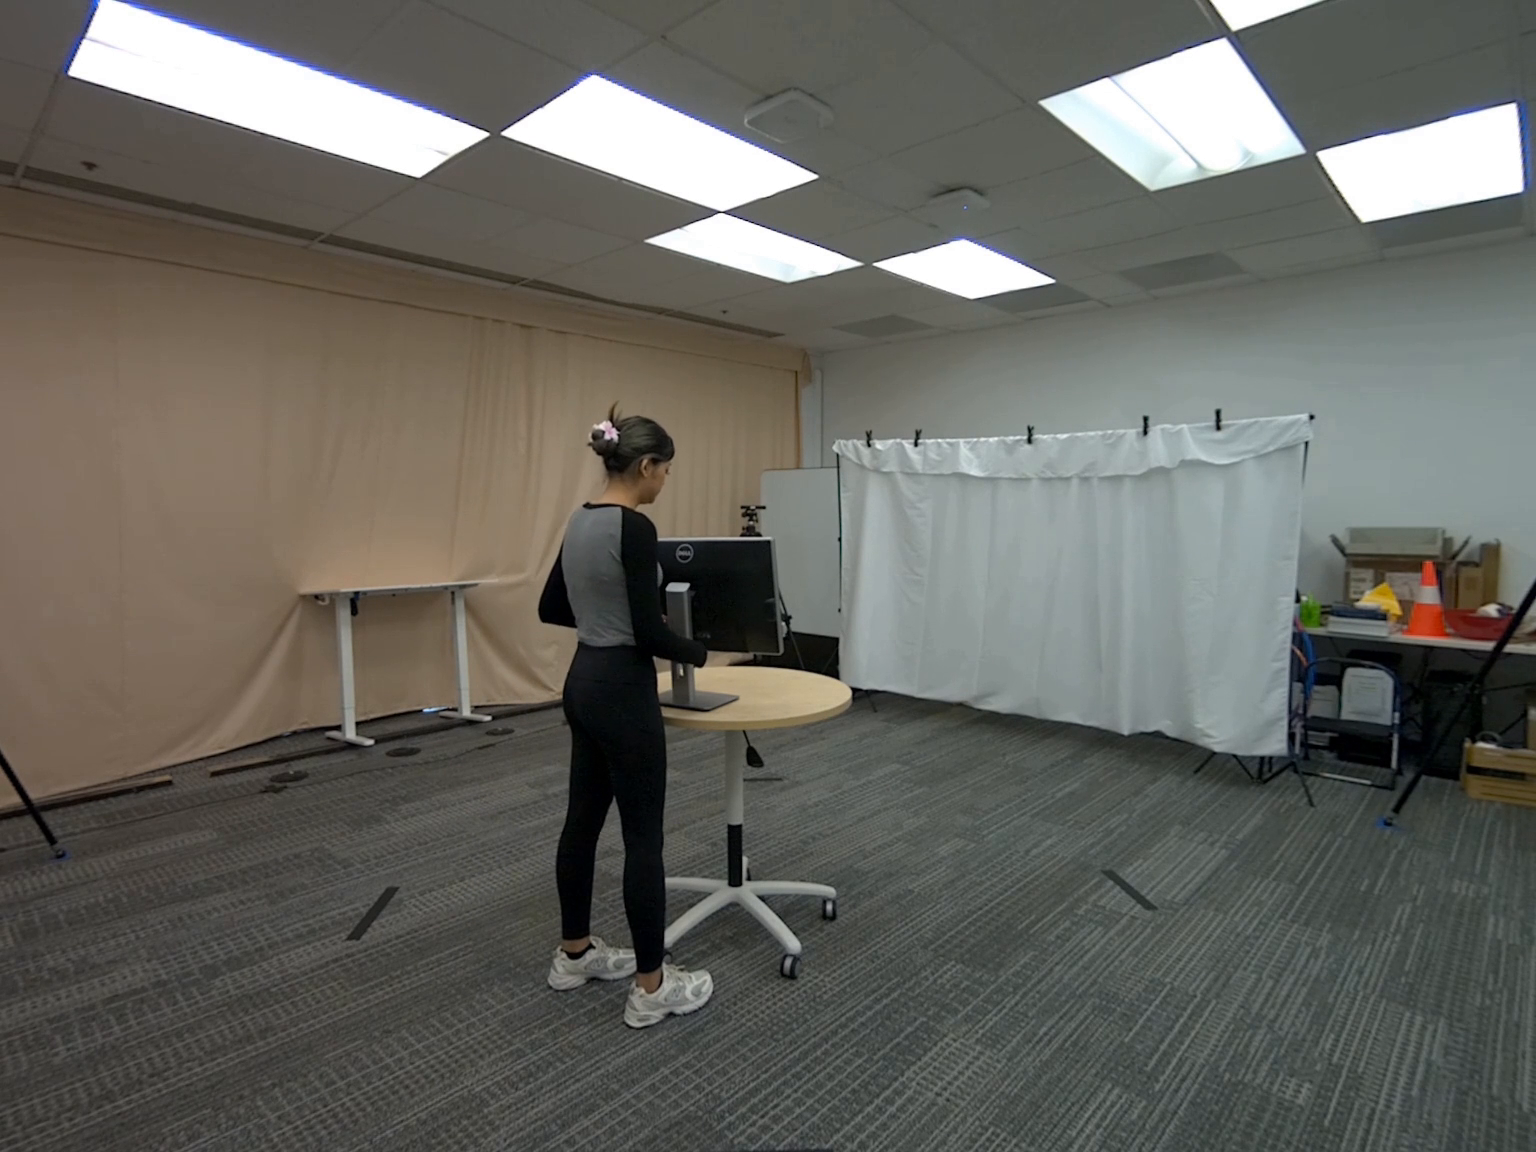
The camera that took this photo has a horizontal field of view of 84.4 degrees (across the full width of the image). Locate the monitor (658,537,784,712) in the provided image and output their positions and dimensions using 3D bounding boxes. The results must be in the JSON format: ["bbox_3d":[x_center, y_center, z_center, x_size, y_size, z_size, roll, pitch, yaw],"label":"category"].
[{"bbox_3d":[-0.243,0.144,2.595,0.551,0.522,0.183,1,2,22],"label":"monitor"}]
